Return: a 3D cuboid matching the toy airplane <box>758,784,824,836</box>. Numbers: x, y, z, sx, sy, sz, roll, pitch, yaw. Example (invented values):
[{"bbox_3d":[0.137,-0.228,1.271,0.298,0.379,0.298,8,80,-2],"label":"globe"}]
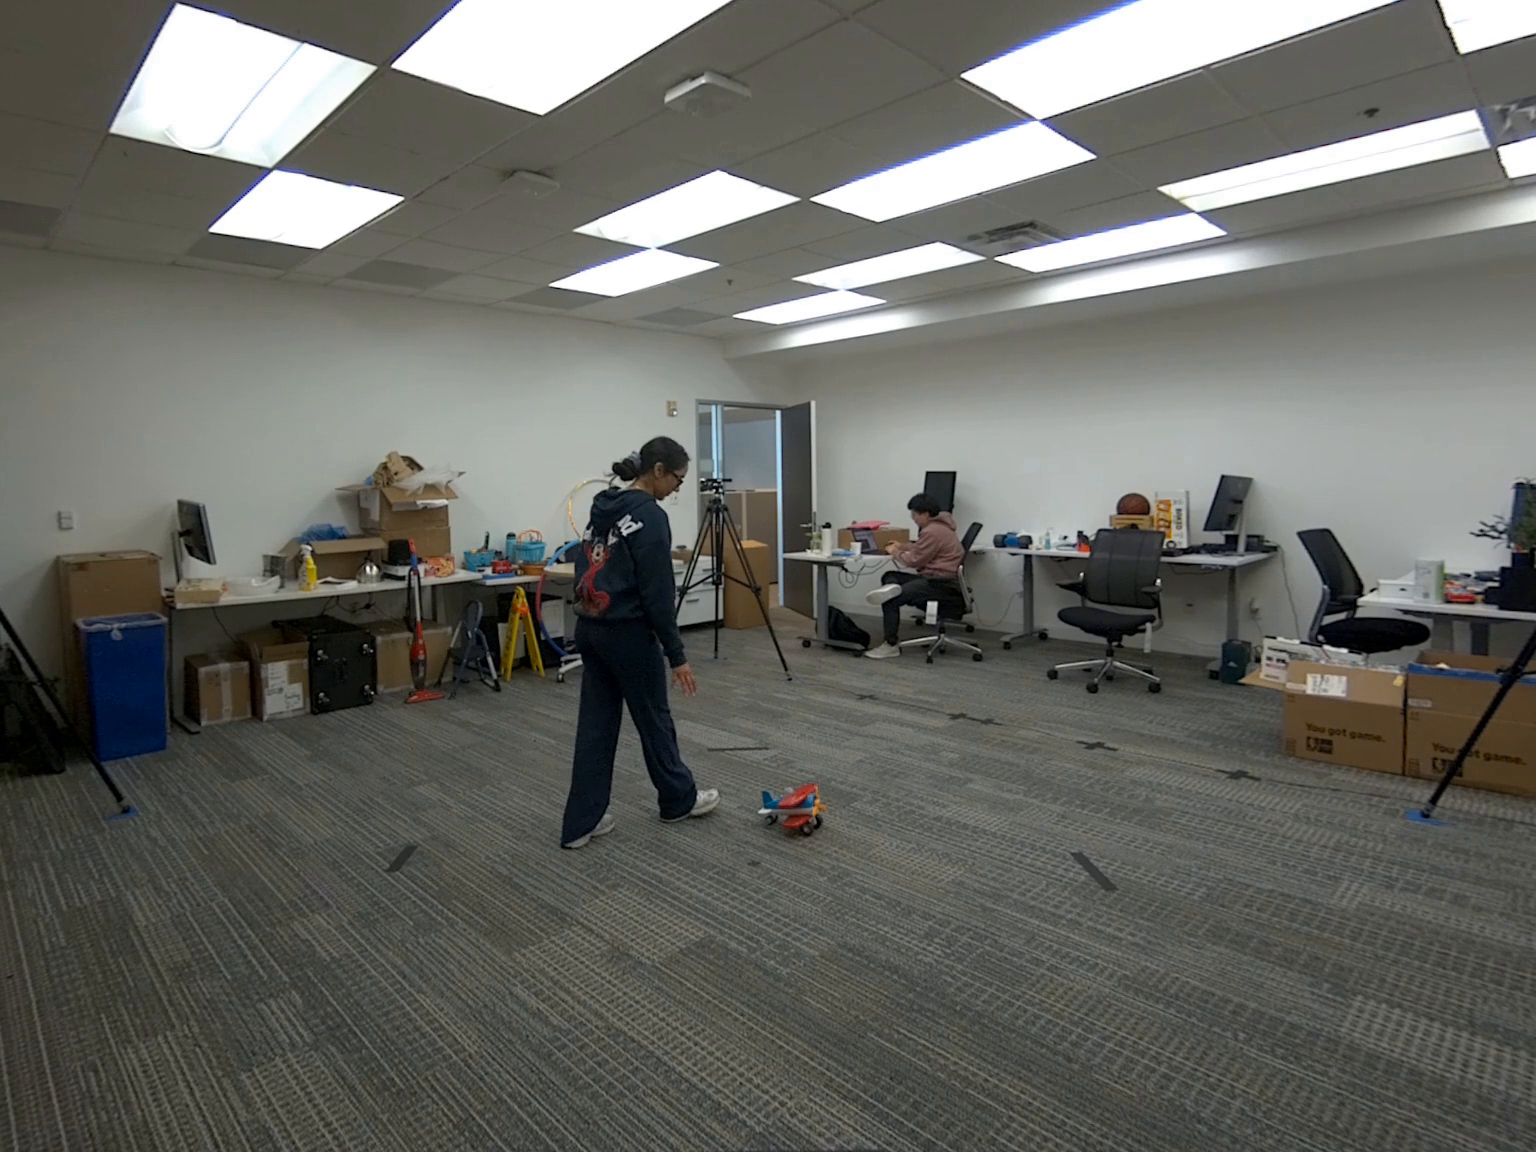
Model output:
[{"bbox_3d":[0.091,0.928,3.394,0.259,0.156,0.252,0,4,-1],"label":"toy airplane"}]
